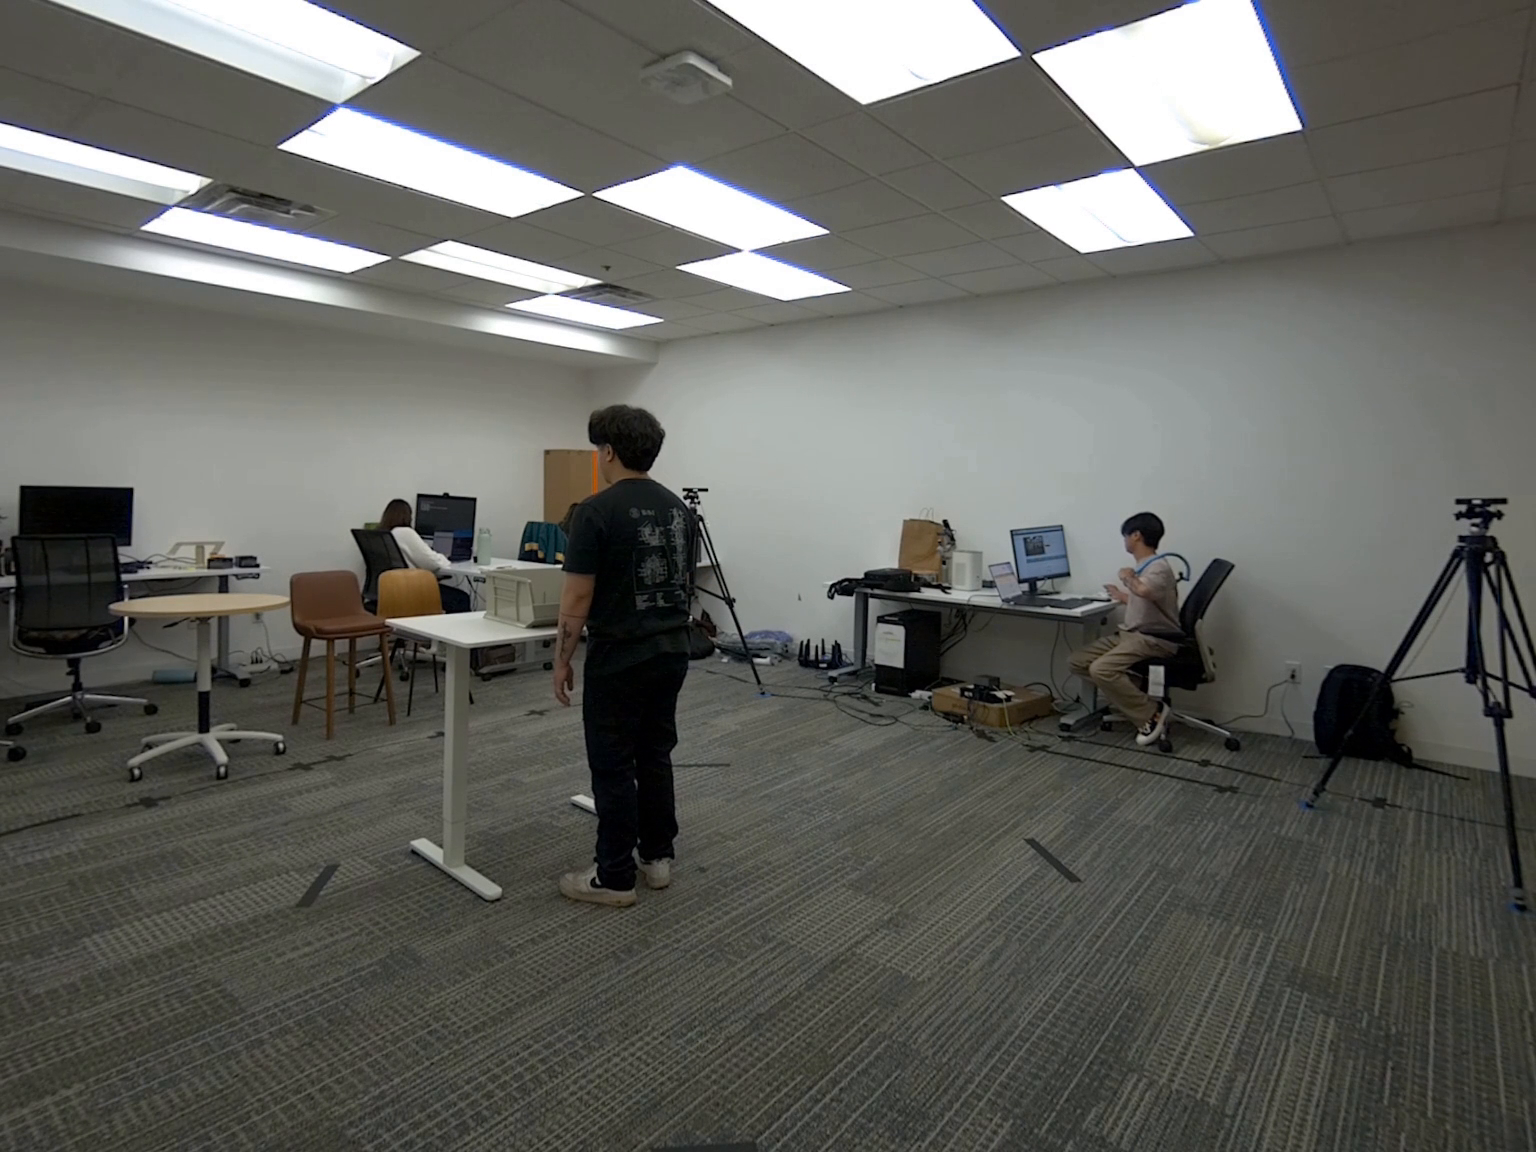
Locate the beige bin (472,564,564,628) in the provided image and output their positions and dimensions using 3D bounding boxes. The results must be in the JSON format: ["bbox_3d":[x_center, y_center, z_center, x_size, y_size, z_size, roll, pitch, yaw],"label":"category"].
[{"bbox_3d":[-0.827,0.078,3.250,0.410,0.188,0.390,-4,7,-44],"label":"beige bin"}]
